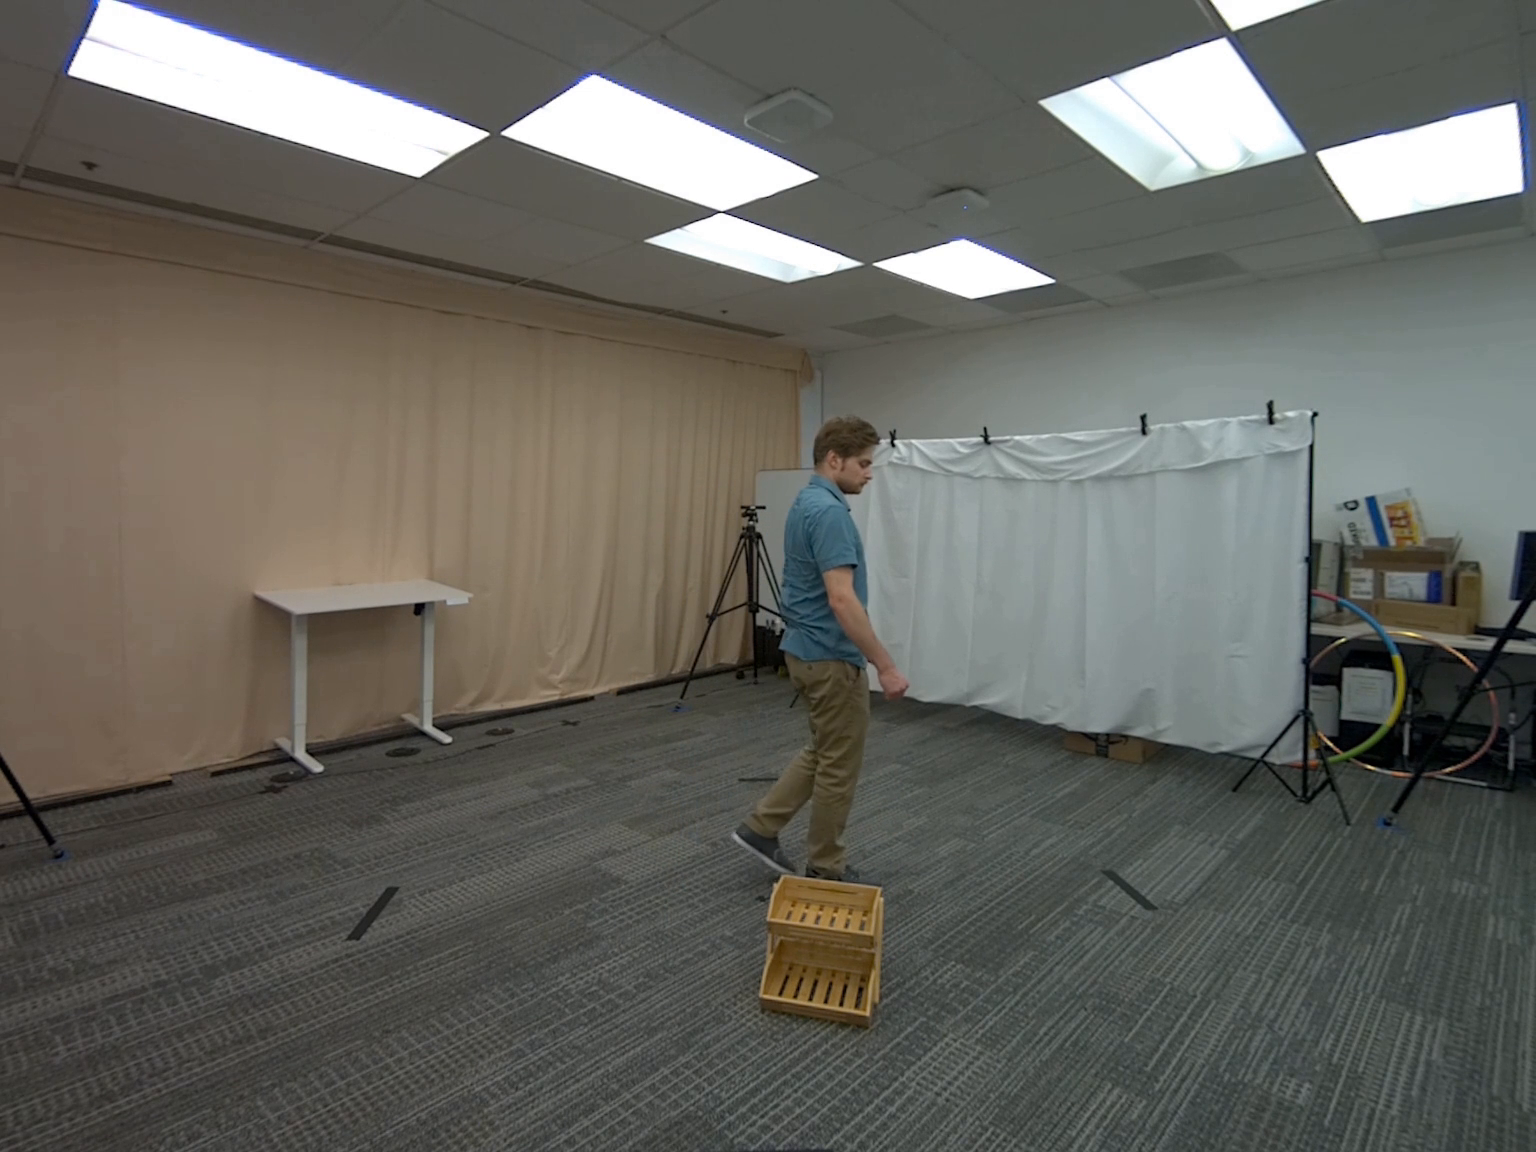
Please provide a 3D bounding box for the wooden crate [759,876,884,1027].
[{"bbox_3d":[0.160,1.056,2.402,0.330,0.273,0.297,1,3,15],"label":"wooden crate"}]
